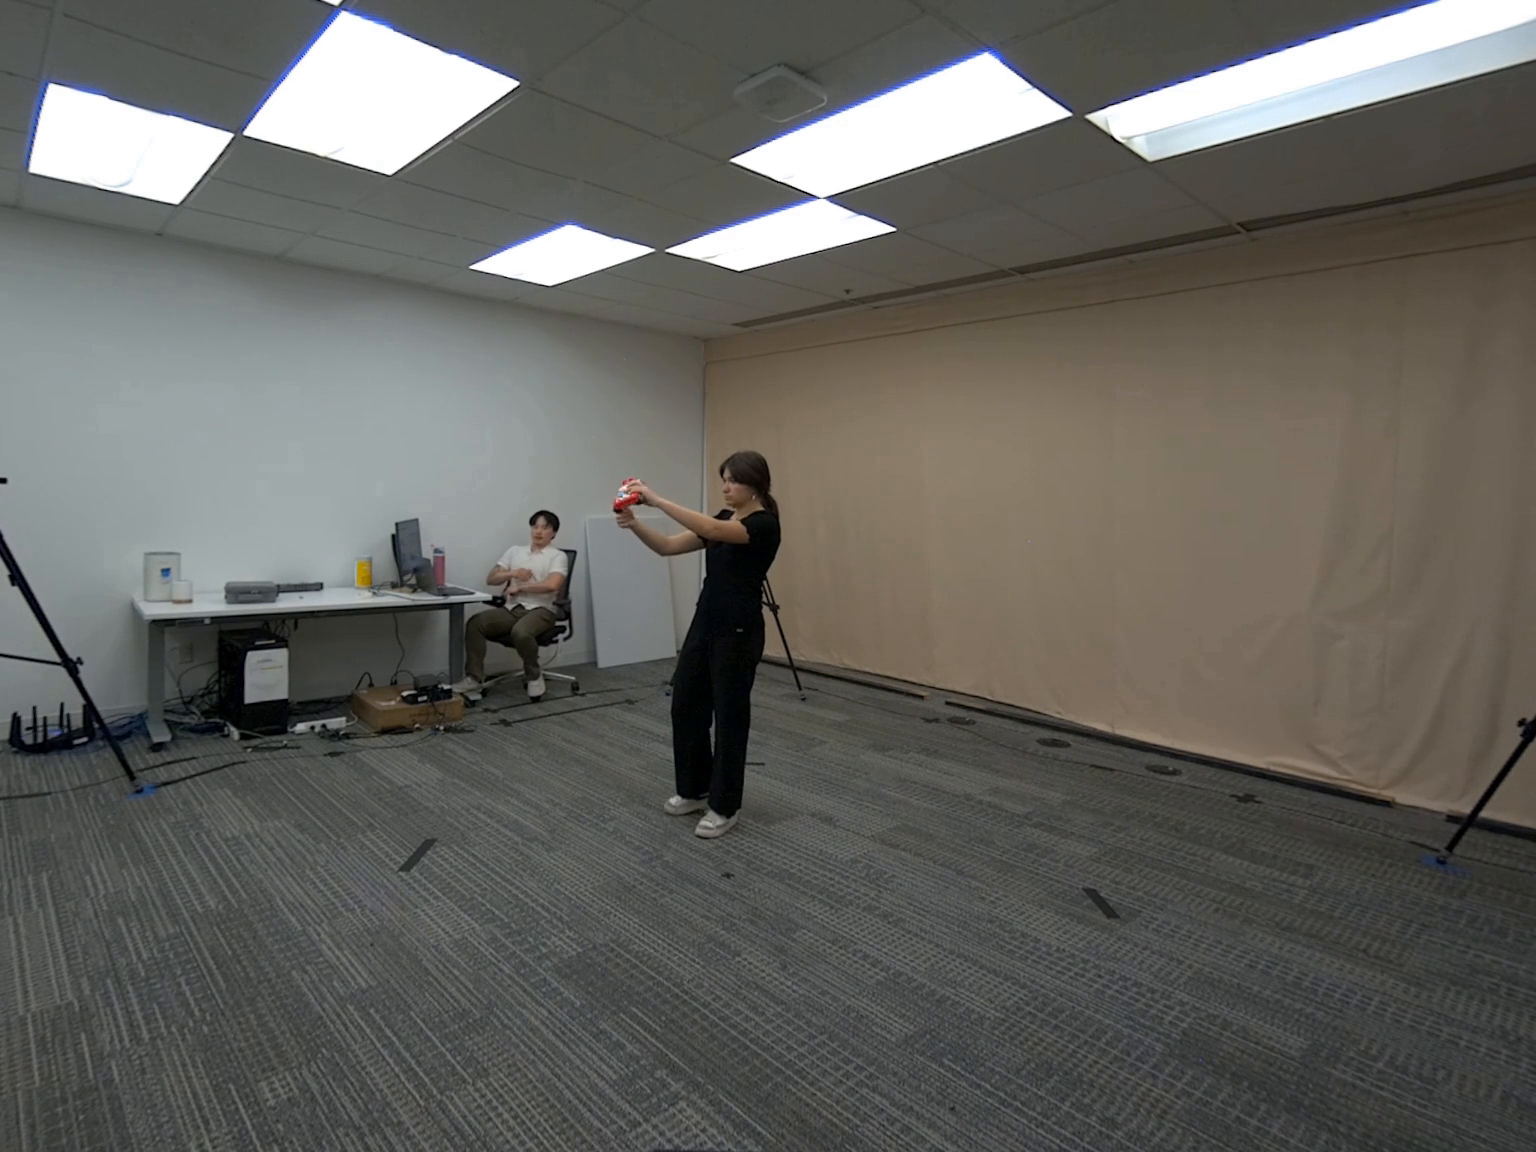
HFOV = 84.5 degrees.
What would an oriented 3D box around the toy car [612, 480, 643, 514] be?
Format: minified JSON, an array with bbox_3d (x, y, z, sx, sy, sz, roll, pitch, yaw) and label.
[{"bbox_3d":[-0.549,-0.318,3.302,0.131,0.081,0.260,-21,29,7],"label":"toy car"}]
